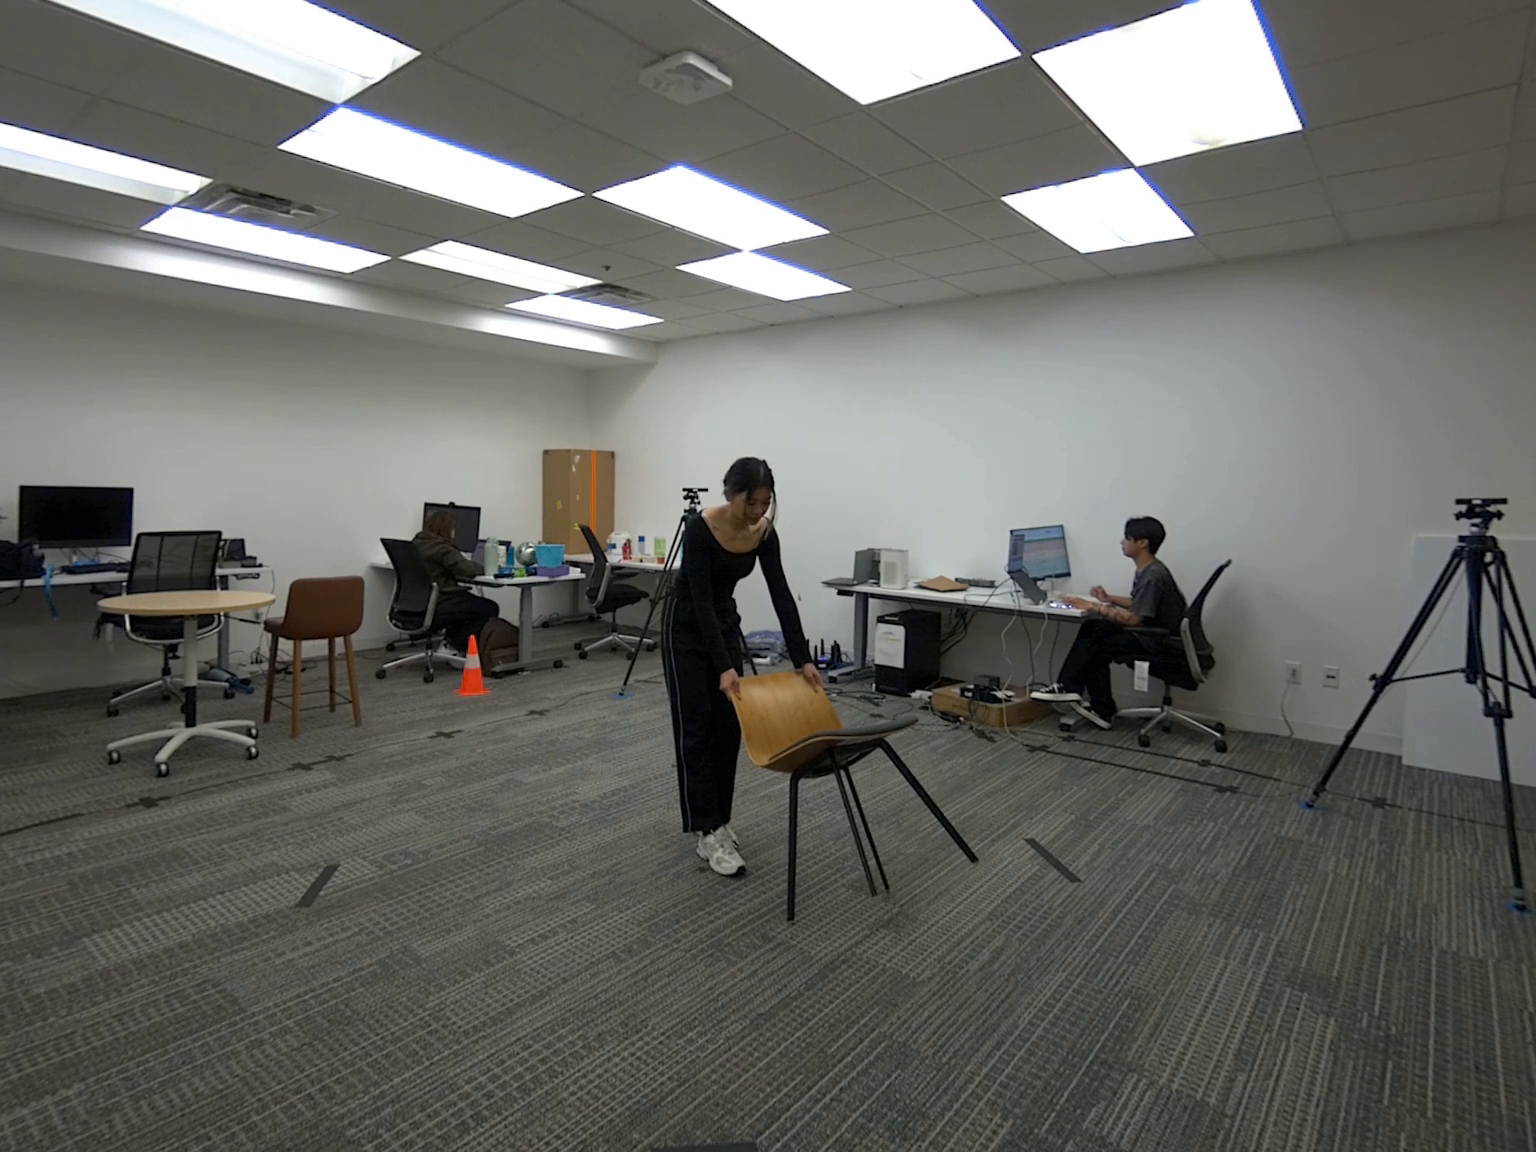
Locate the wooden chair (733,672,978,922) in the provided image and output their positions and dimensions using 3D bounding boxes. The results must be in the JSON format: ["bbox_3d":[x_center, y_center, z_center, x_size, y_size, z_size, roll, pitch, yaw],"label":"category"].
[{"bbox_3d":[0.224,0.610,2.862,0.464,0.905,0.522,-1,-33,-36],"label":"wooden chair"}]
